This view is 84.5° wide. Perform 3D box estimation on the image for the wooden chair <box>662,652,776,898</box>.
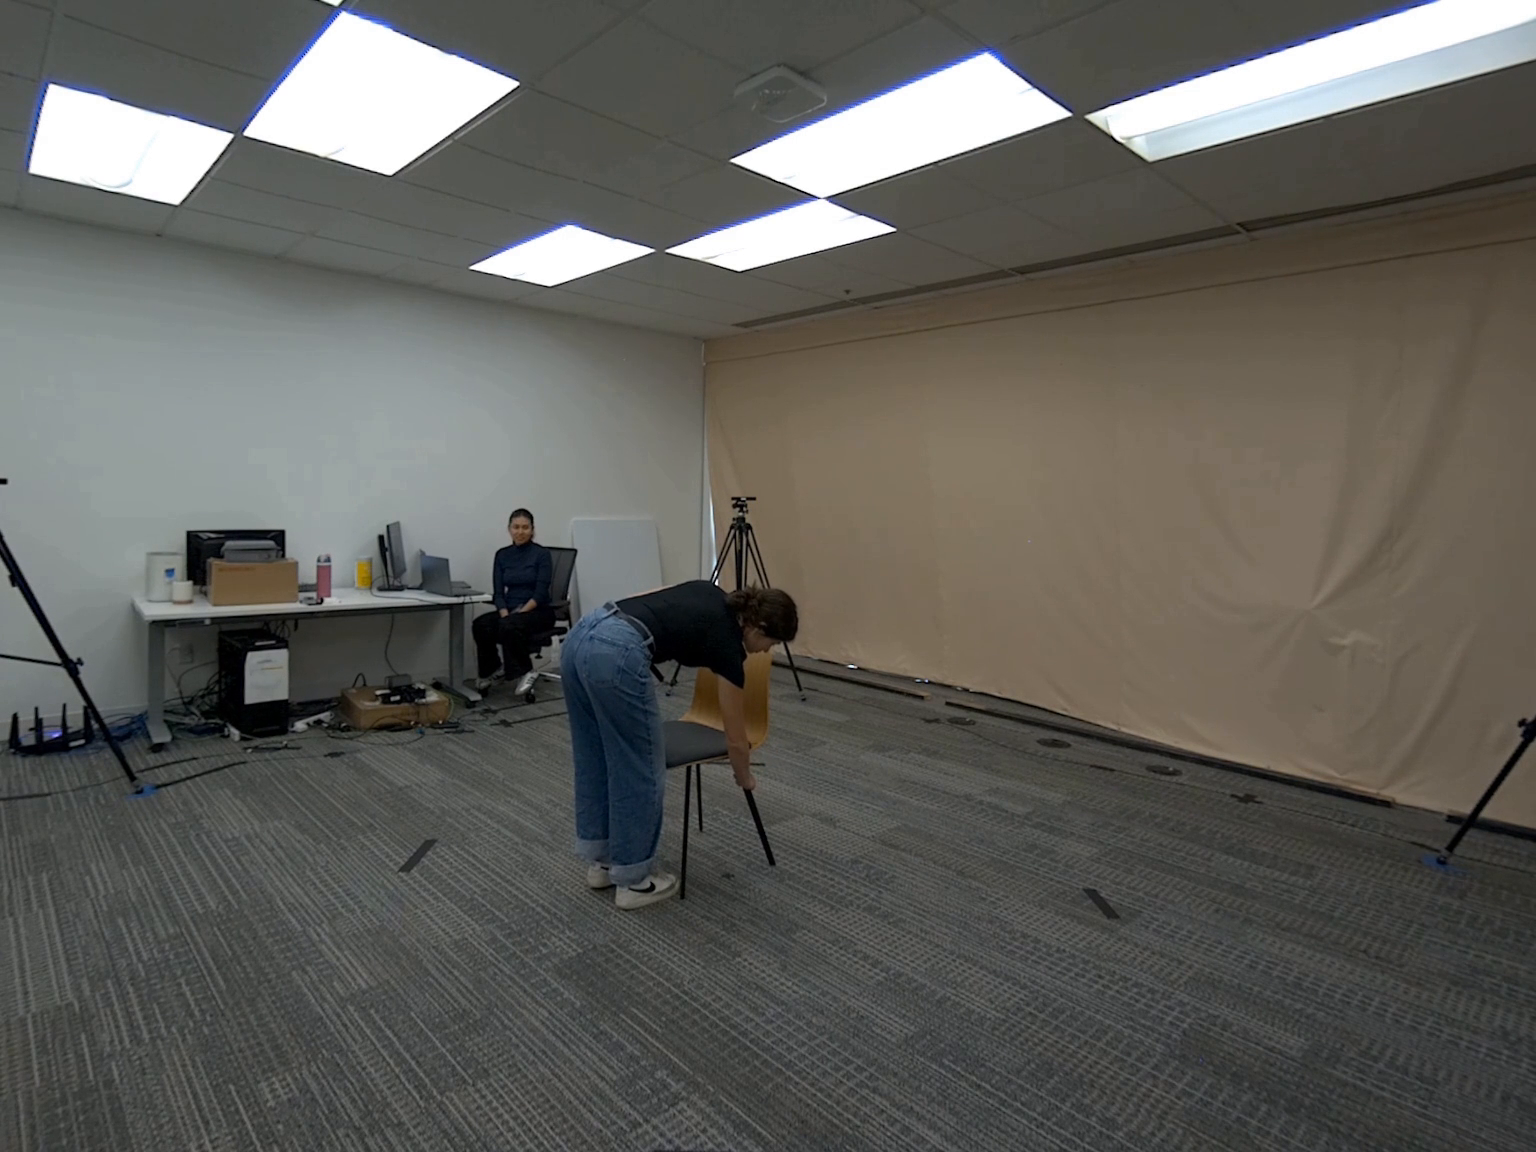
[{"bbox_3d":[-0.287,0.670,3.191,0.510,0.877,0.490,4,1,-42],"label":"wooden chair"}]
